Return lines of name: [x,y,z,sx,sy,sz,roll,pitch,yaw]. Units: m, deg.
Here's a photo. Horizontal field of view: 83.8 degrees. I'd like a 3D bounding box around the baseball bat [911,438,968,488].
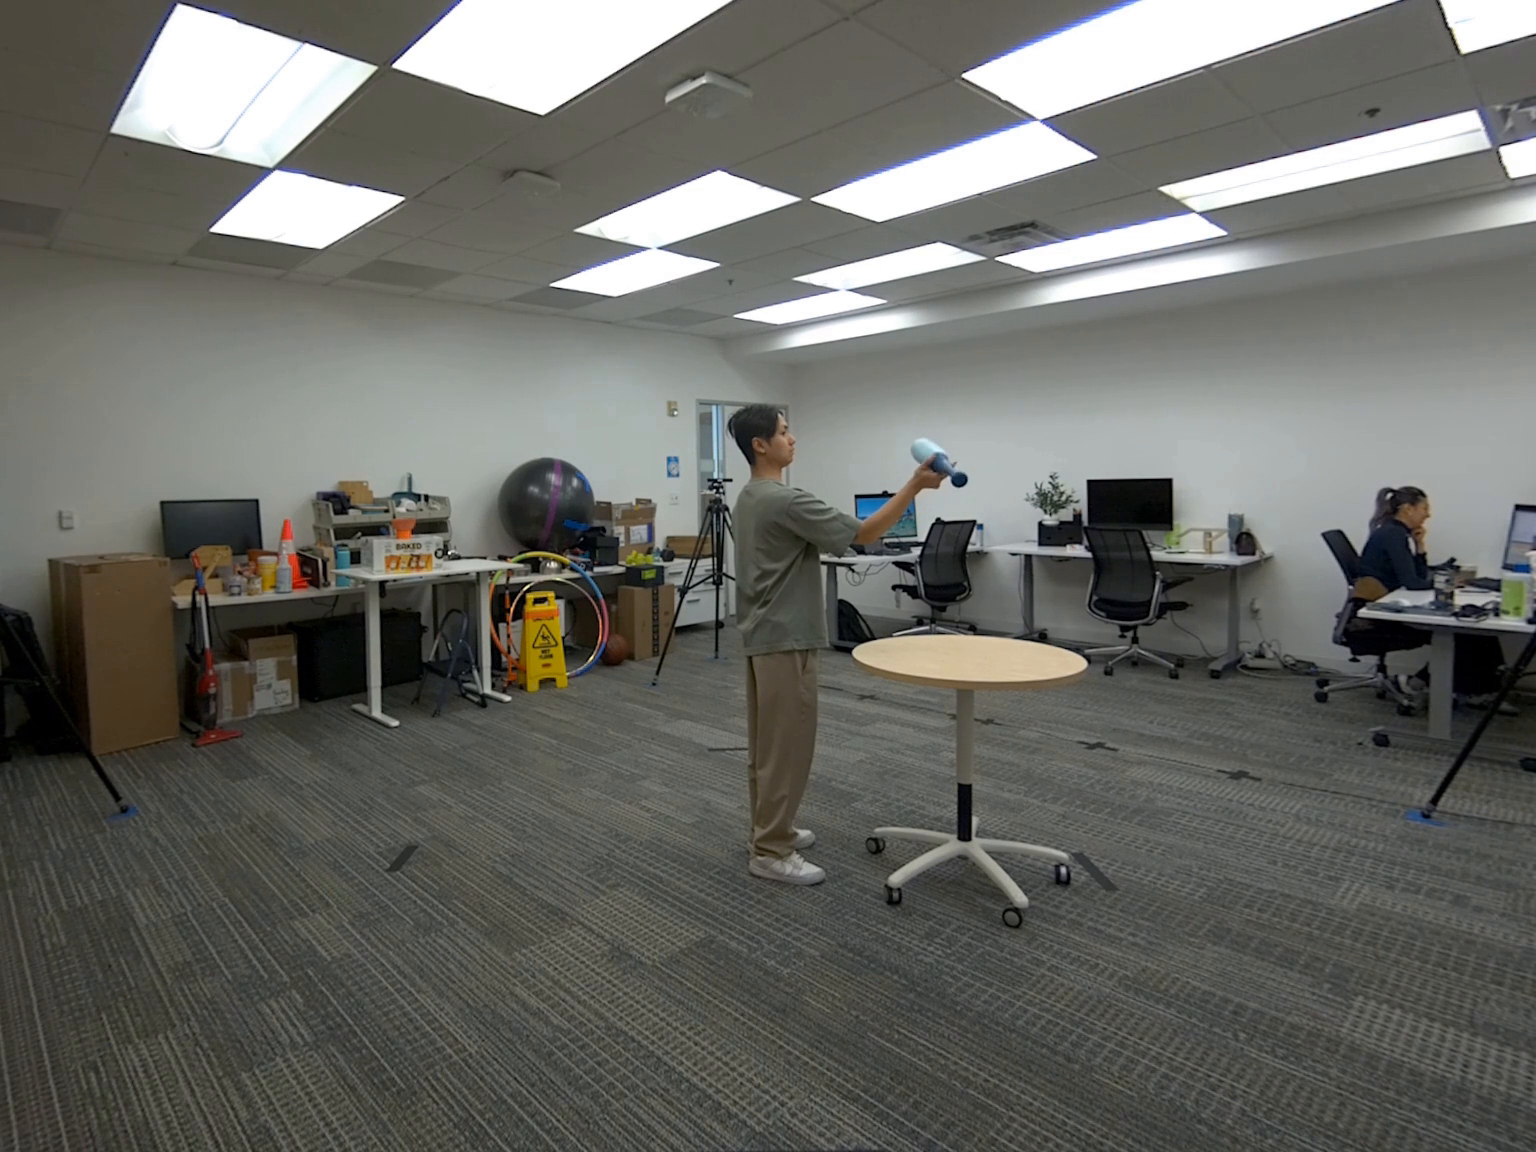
baseball bat: [0.582,-0.371,2.844,0.089,0.087,0.552,-2,19,-3]
